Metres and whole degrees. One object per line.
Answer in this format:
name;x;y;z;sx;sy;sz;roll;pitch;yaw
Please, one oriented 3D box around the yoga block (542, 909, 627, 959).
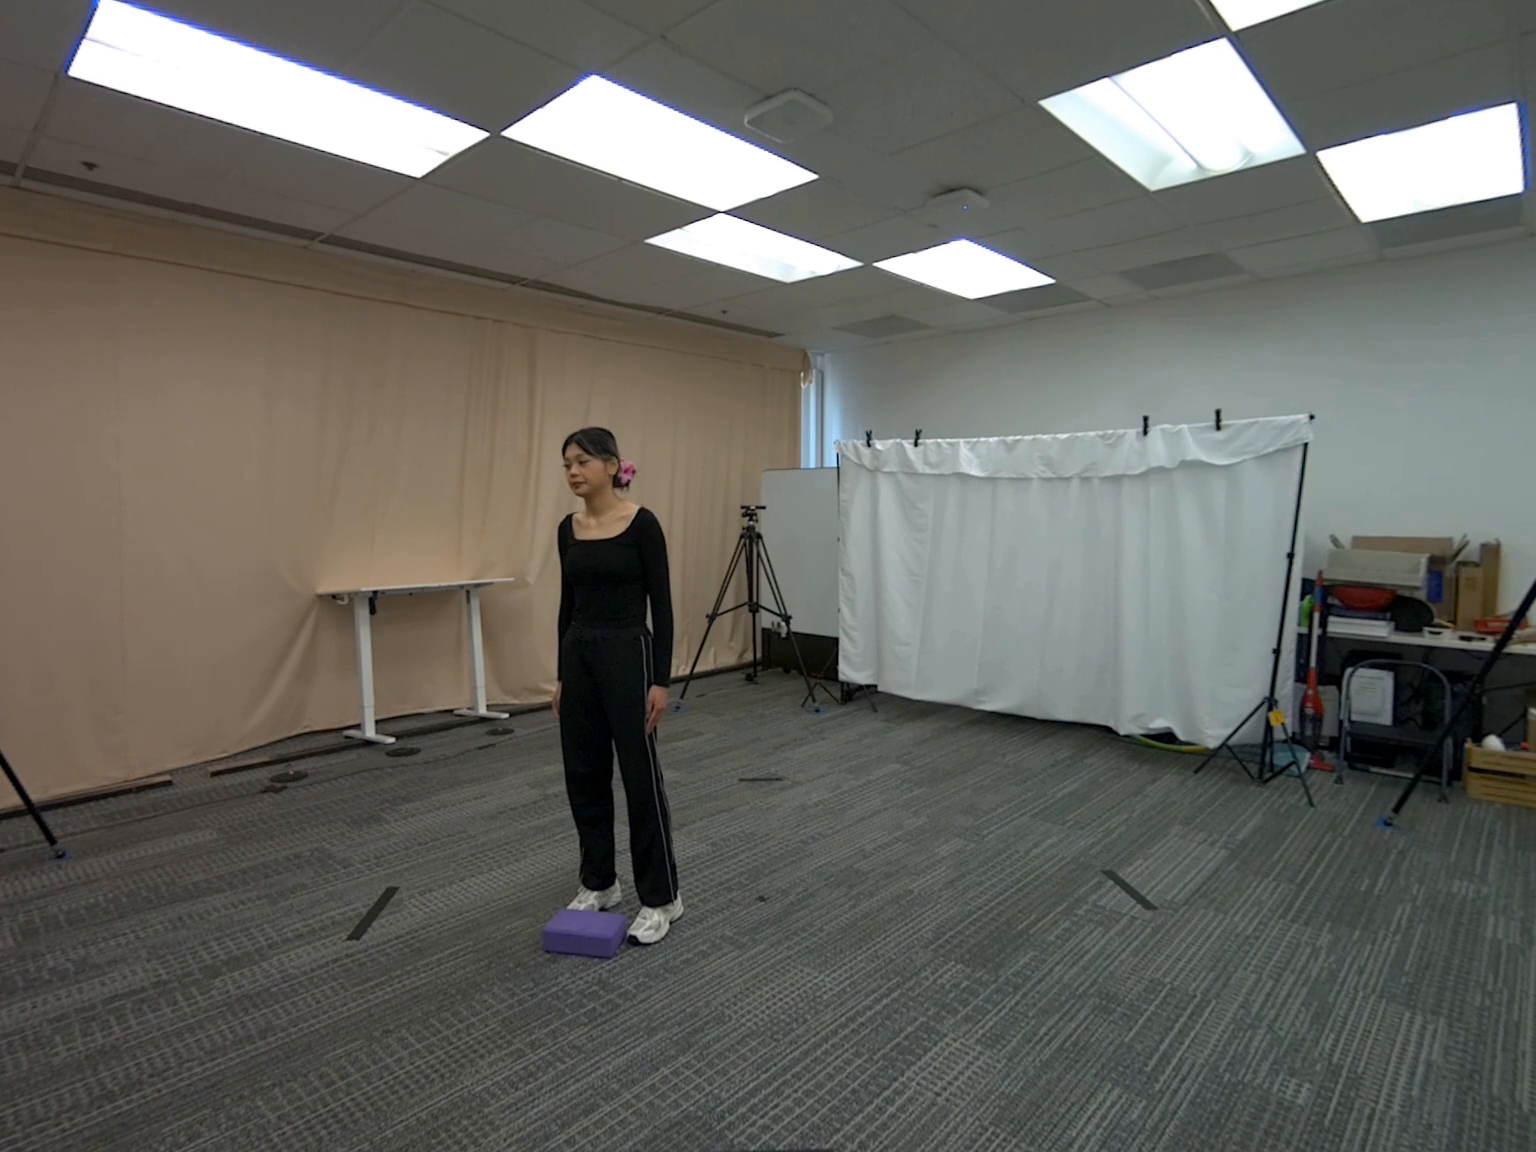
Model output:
yoga block;-0.580;1.134;2.677;0.233;0.076;0.147;2;4;13
